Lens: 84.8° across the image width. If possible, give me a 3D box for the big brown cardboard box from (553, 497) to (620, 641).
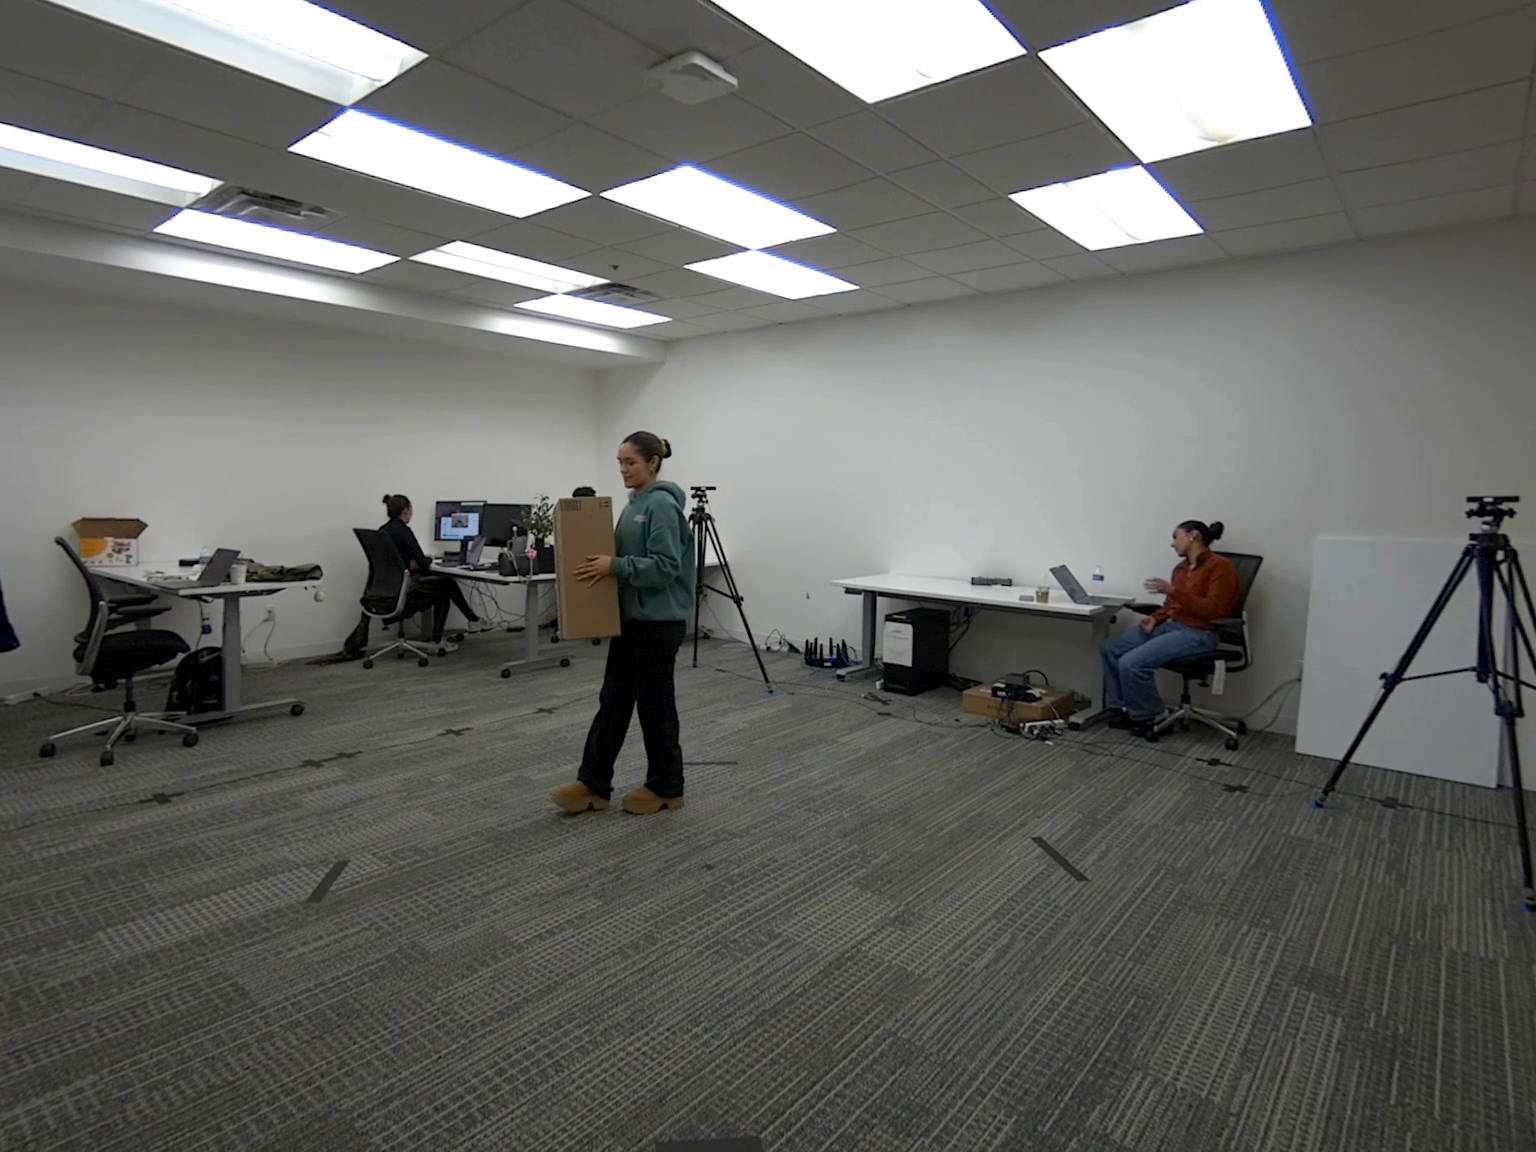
[{"bbox_3d":[-0.788,-0.030,3.623,0.230,0.591,0.422,-3,-3,-16],"label":"big brown cardboard box"}]
